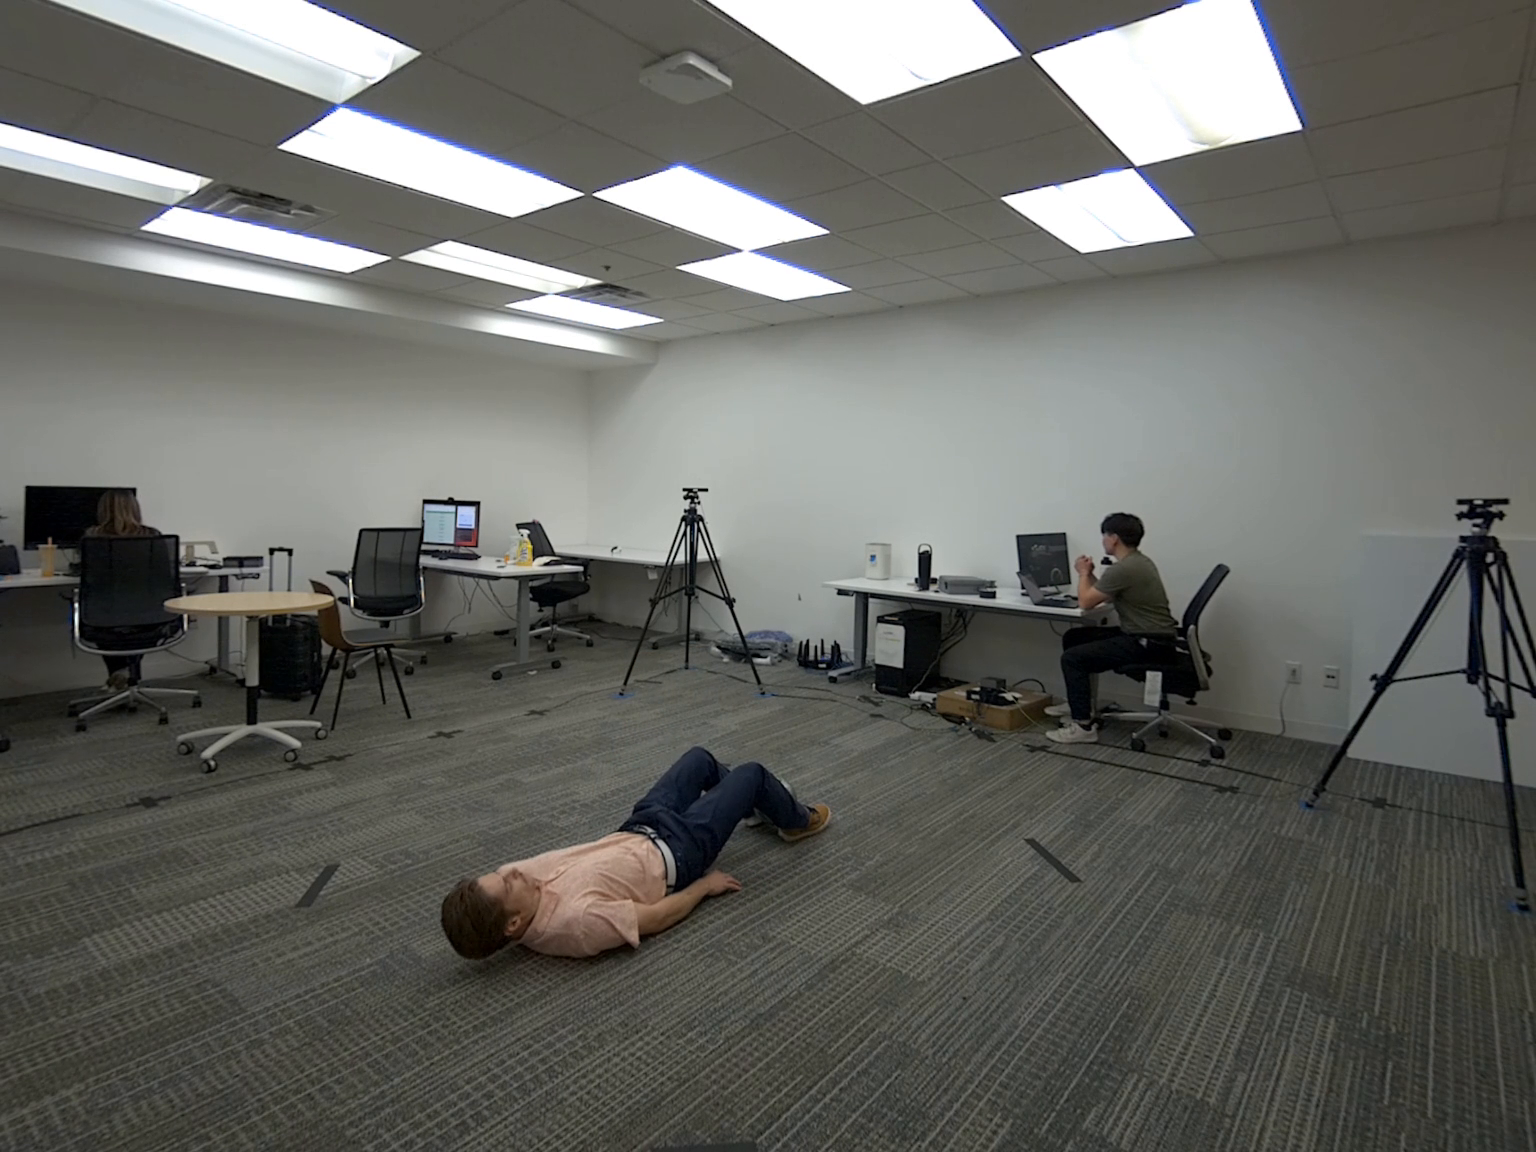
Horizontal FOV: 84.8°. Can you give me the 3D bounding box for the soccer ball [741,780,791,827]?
[{"bbox_3d":[0.019,0.918,3.462,0.187,0.187,0.188,1,4,-2],"label":"soccer ball"}]
